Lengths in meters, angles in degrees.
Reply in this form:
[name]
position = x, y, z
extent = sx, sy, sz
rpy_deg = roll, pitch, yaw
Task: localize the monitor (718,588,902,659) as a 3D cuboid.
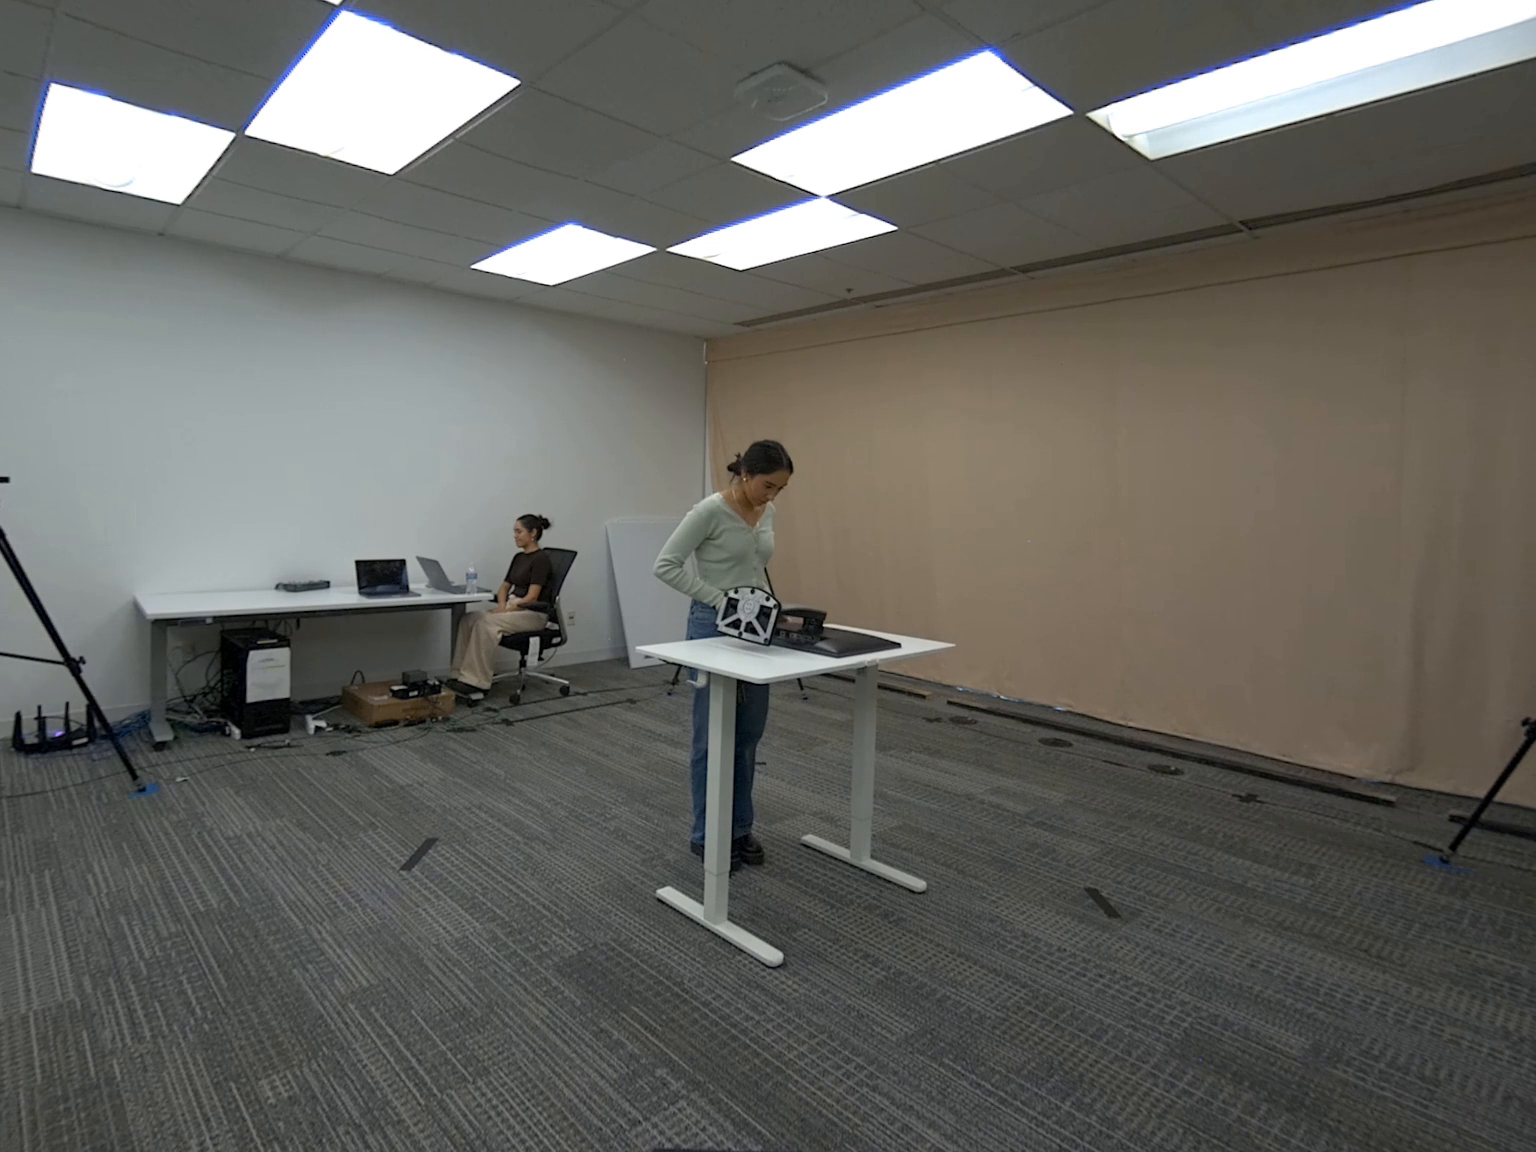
[monitor]
position = 0.092, 0.181, 2.962
extent = 0.507, 0.187, 0.554
rpy_deg = 17, -4, -43
